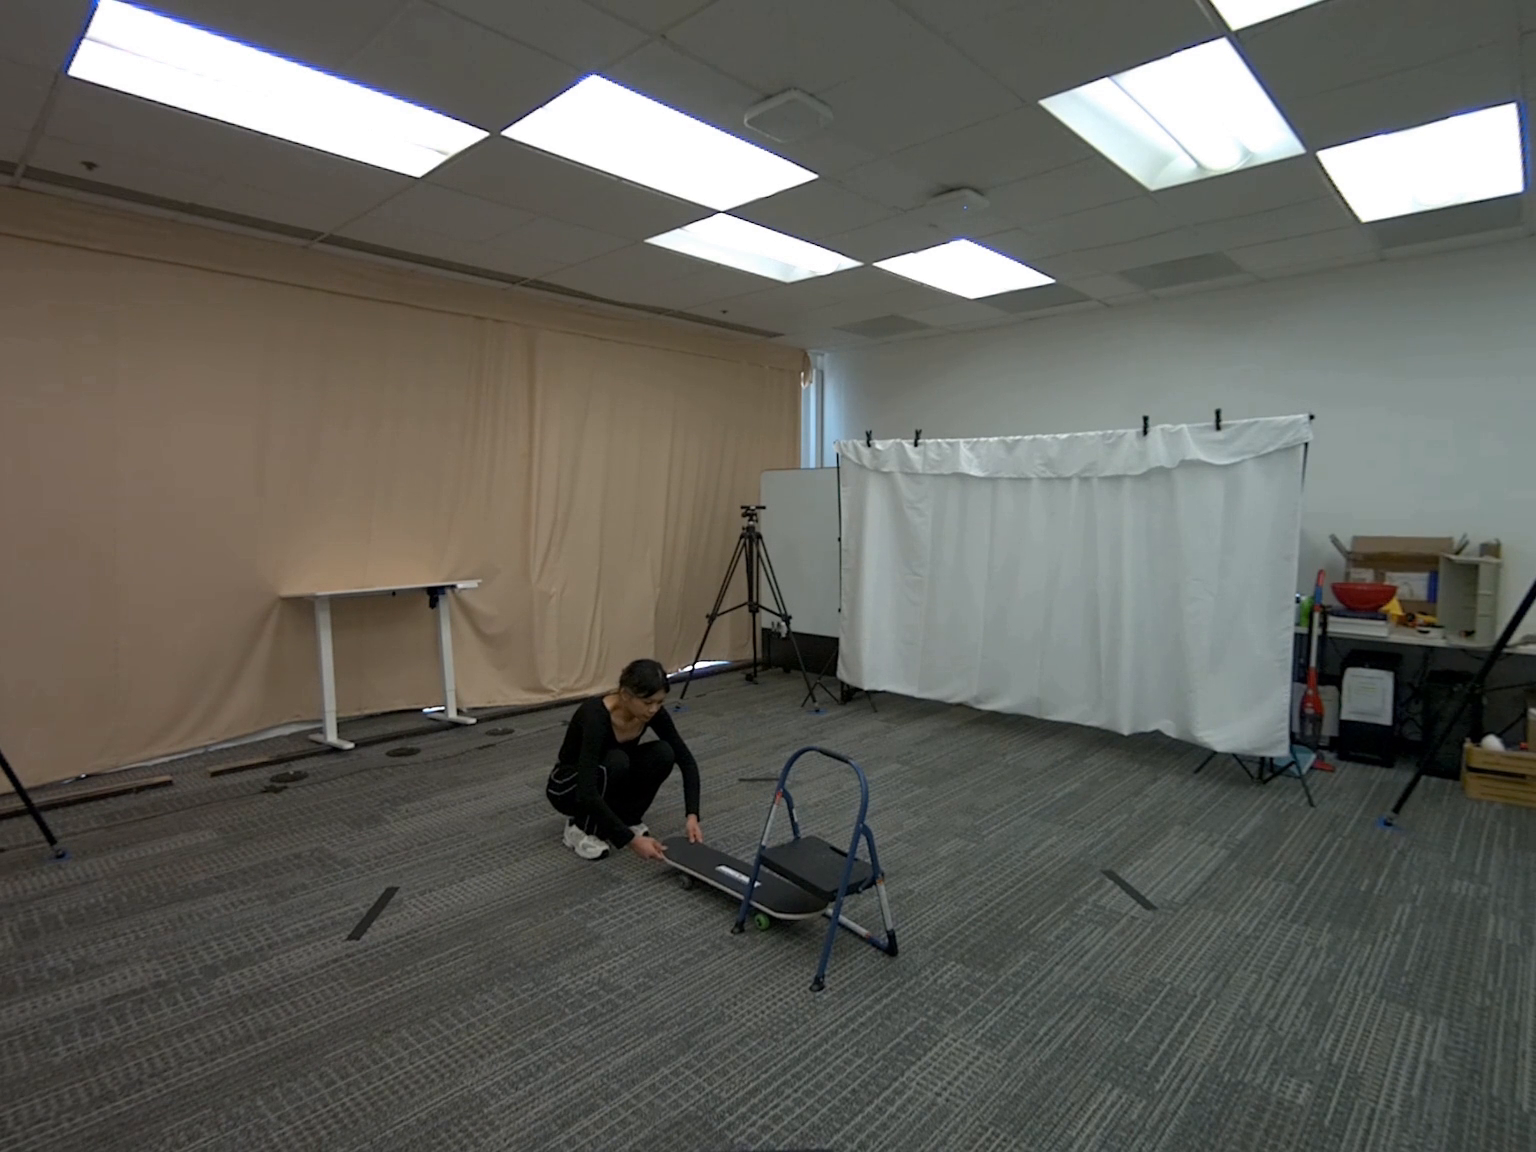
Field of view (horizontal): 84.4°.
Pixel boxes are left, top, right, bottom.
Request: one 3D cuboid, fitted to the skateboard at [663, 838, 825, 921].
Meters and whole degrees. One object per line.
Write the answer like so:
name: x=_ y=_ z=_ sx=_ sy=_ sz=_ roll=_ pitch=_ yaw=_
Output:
skateboard: x=-0.099 y=1.078 z=2.971 sx=0.187 sy=0.110 sz=0.811 roll=-3 pitch=5 yaw=-42
